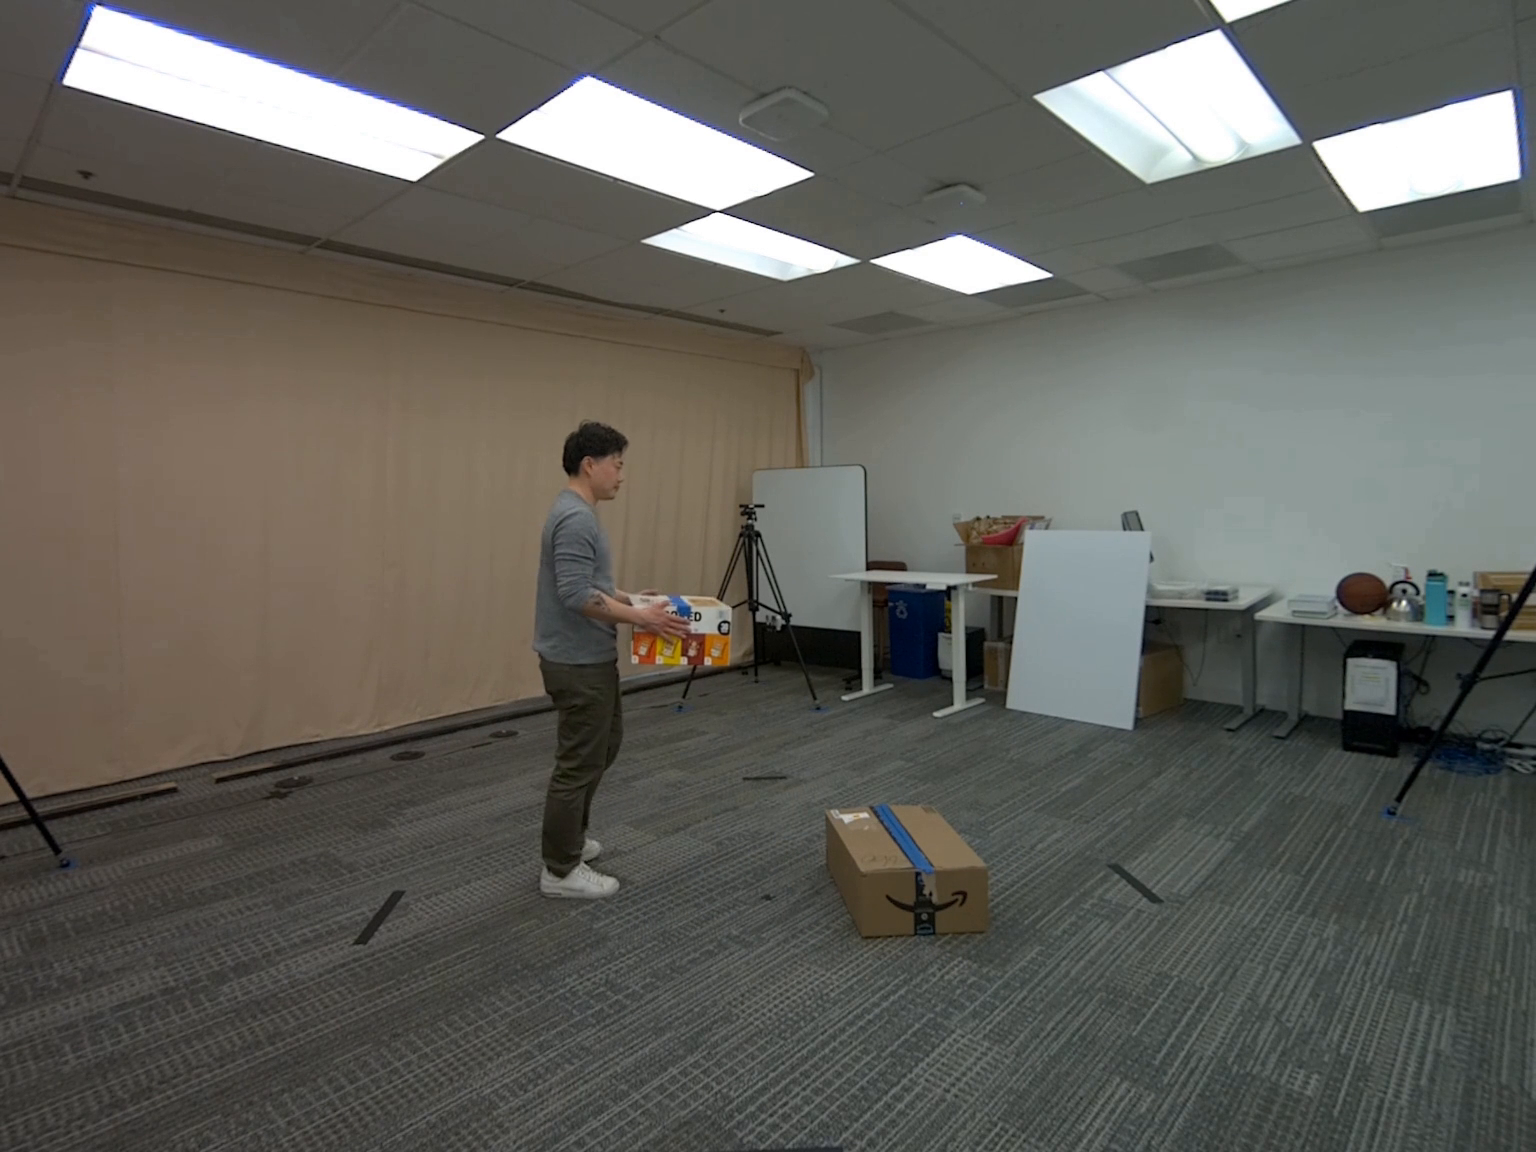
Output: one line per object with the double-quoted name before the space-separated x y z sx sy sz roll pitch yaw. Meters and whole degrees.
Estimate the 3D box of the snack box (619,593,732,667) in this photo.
"snack box" -0.350 0.189 3.085 0.336 0.205 0.411 3 2 -13
